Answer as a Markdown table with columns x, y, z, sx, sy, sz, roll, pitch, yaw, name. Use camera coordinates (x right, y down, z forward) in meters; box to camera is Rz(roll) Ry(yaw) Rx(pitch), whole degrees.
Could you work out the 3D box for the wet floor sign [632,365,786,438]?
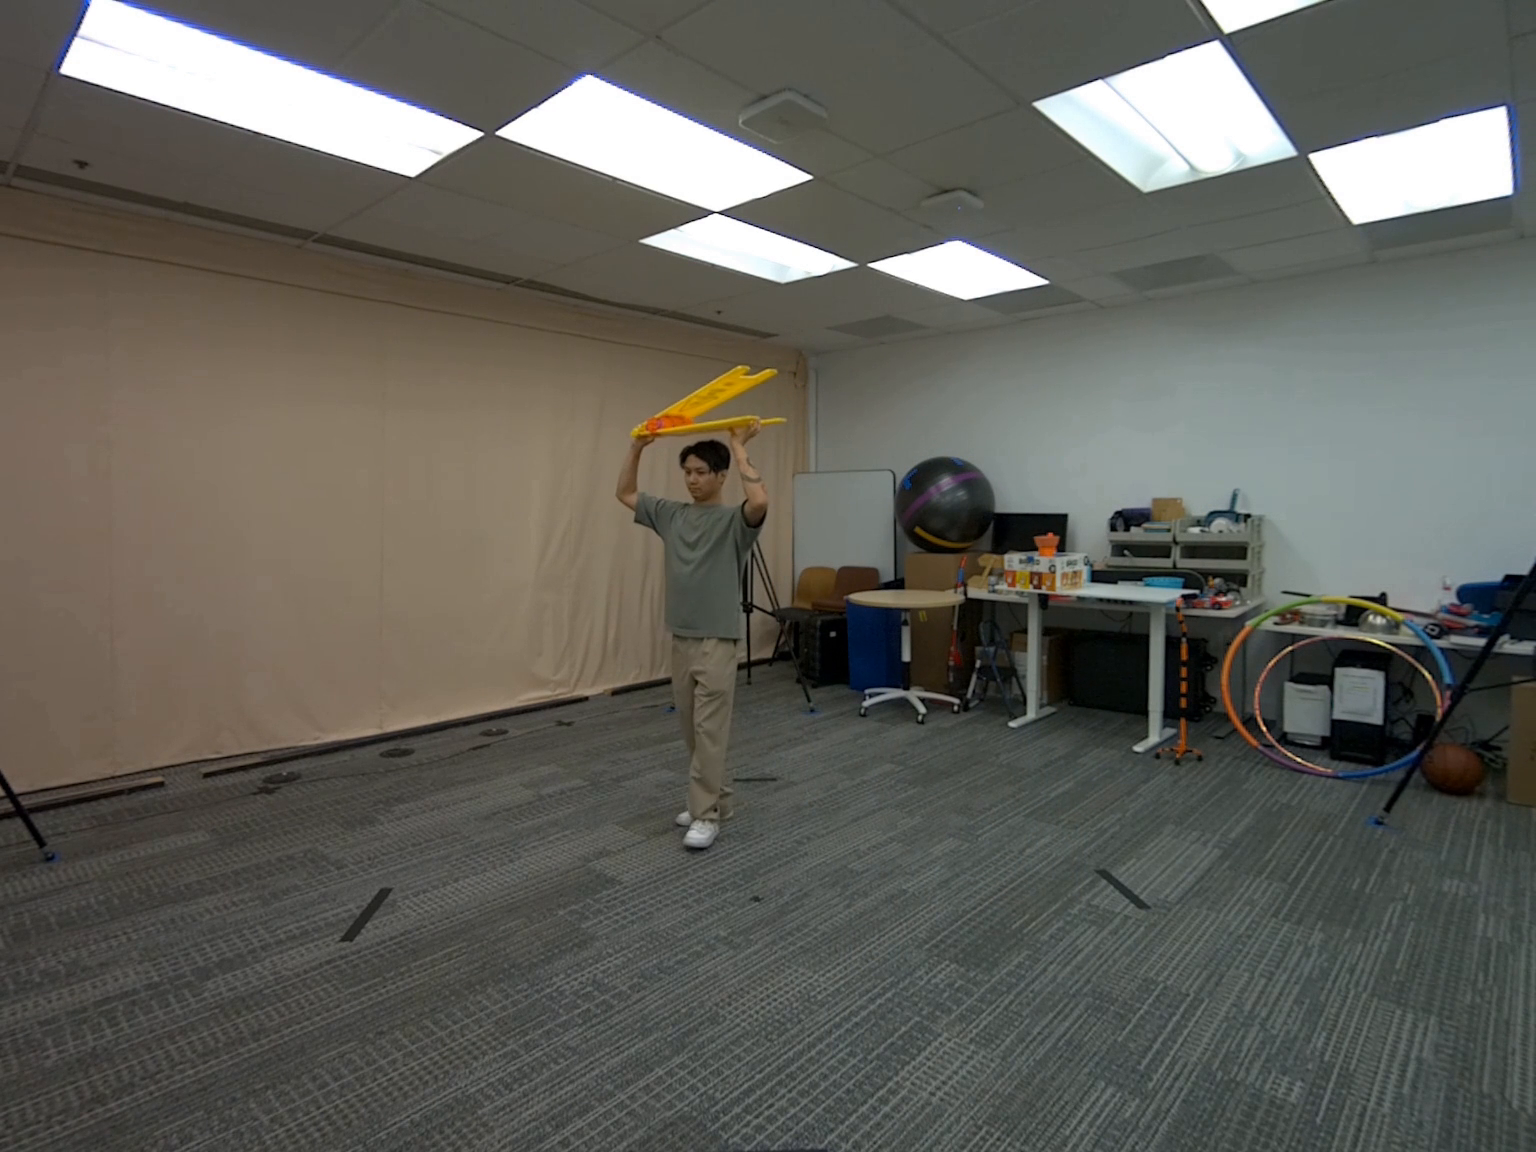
| x | y | z | sx | sy | sz | roll | pitch | yaw | name |
| --- | --- | --- | --- | --- | --- | --- | --- | --- | --- |
| -0.274 | -0.672 | 3.529 | 0.664 | 0.289 | 0.275 | -8 | 2 | 35 | wet floor sign |
